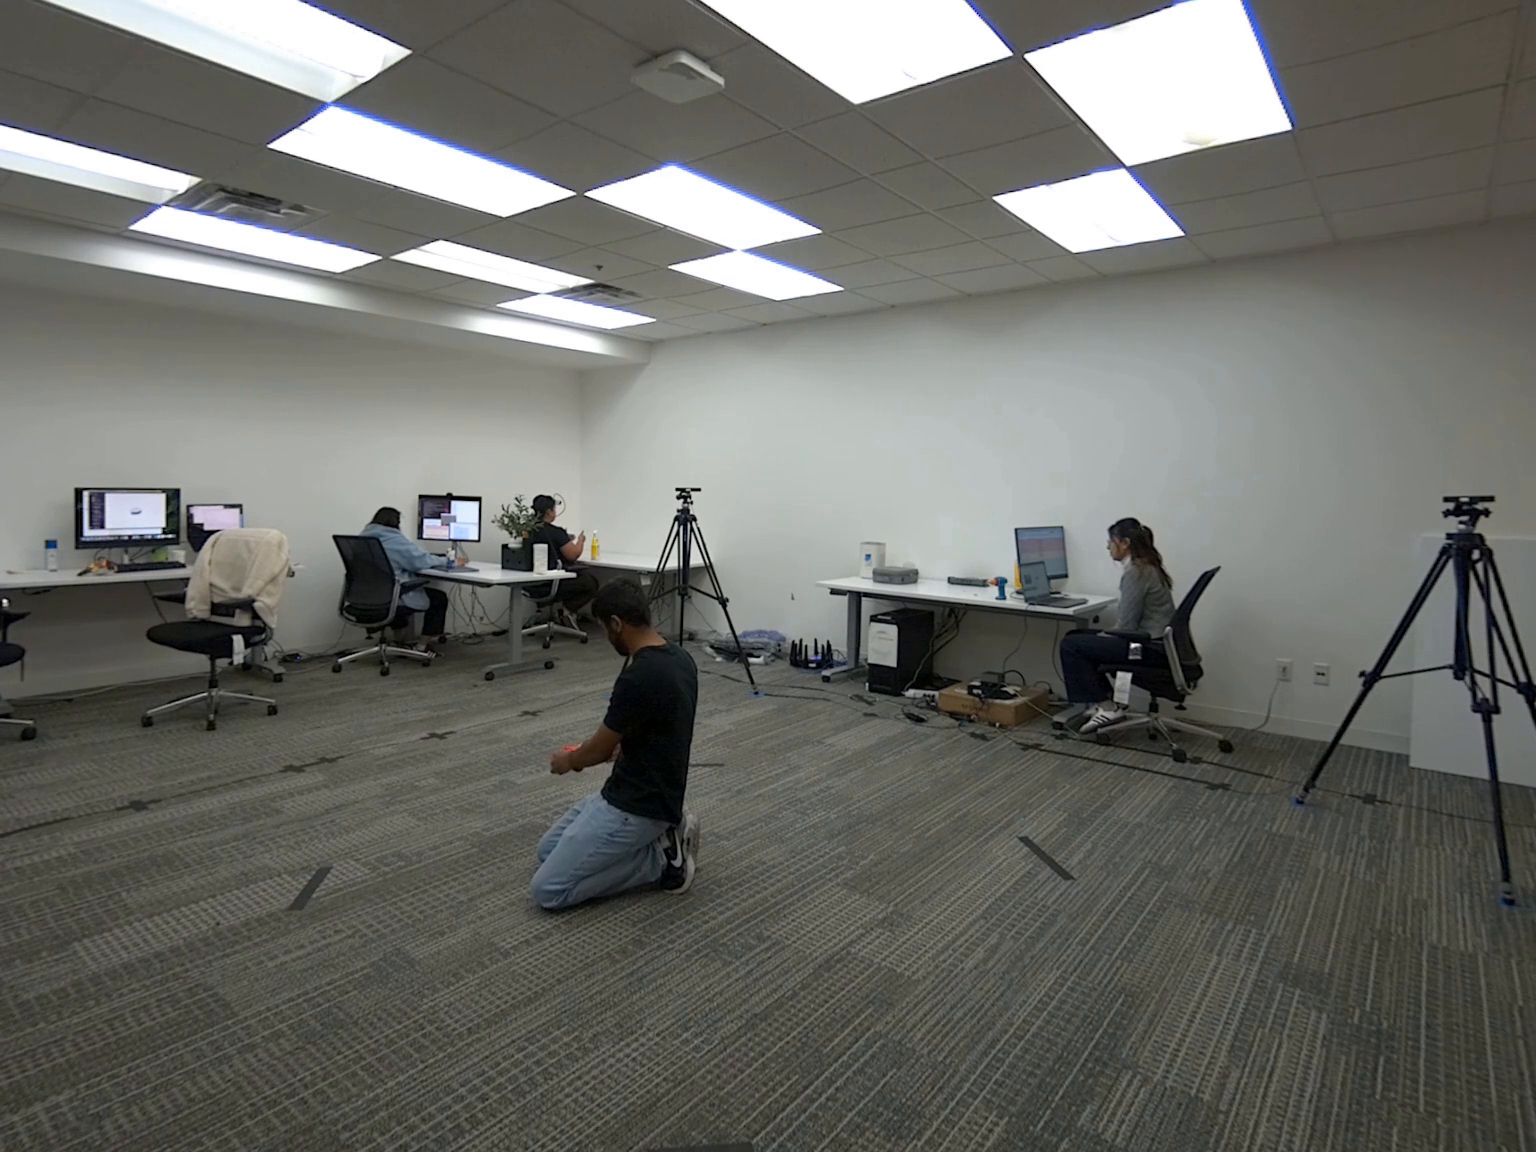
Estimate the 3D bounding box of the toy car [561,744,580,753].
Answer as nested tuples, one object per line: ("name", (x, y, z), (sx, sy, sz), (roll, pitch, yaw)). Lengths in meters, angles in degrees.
("toy car", (-0.743, 0.712, 3.347), (0.134, 0.083, 0.245), (3, -4, 43))
